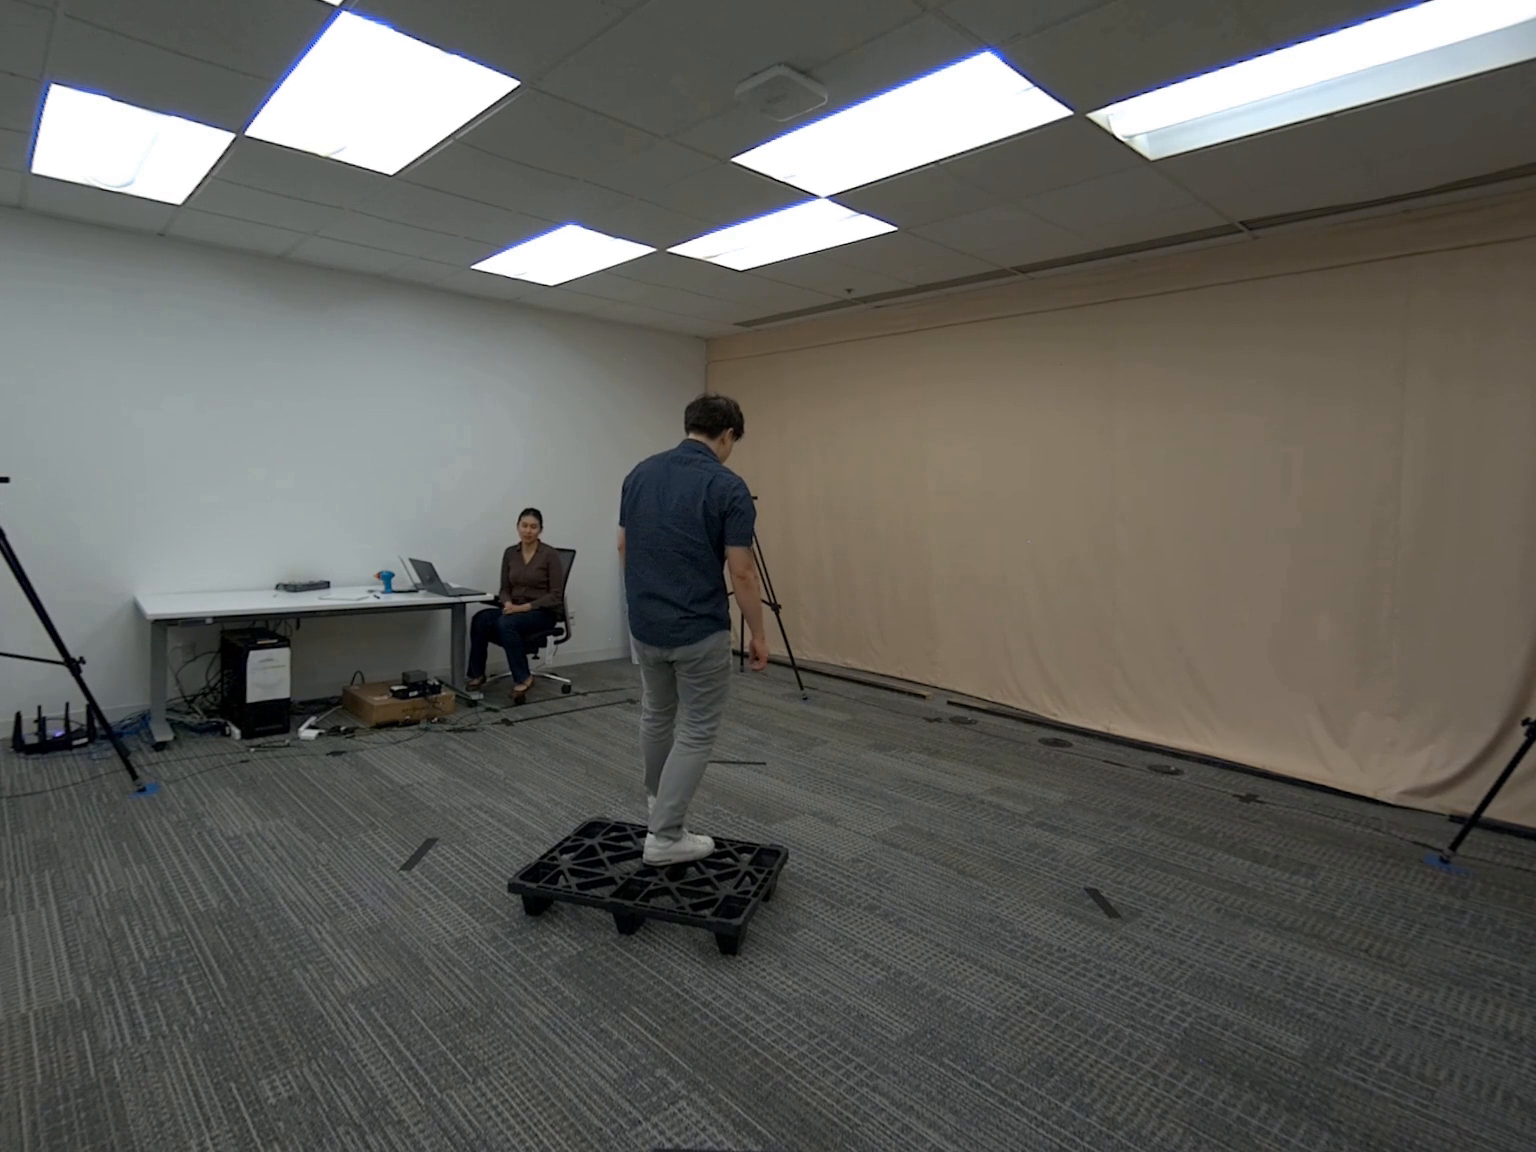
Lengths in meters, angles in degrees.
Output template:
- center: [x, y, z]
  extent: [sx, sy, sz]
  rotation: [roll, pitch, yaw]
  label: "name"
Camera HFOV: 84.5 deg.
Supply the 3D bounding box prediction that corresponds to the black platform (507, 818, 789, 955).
- center: [-0.389, 1.051, 2.878]
  extent: [0.817, 0.143, 0.599]
  rotation: [3, 6, 17]
  label: "black platform"
